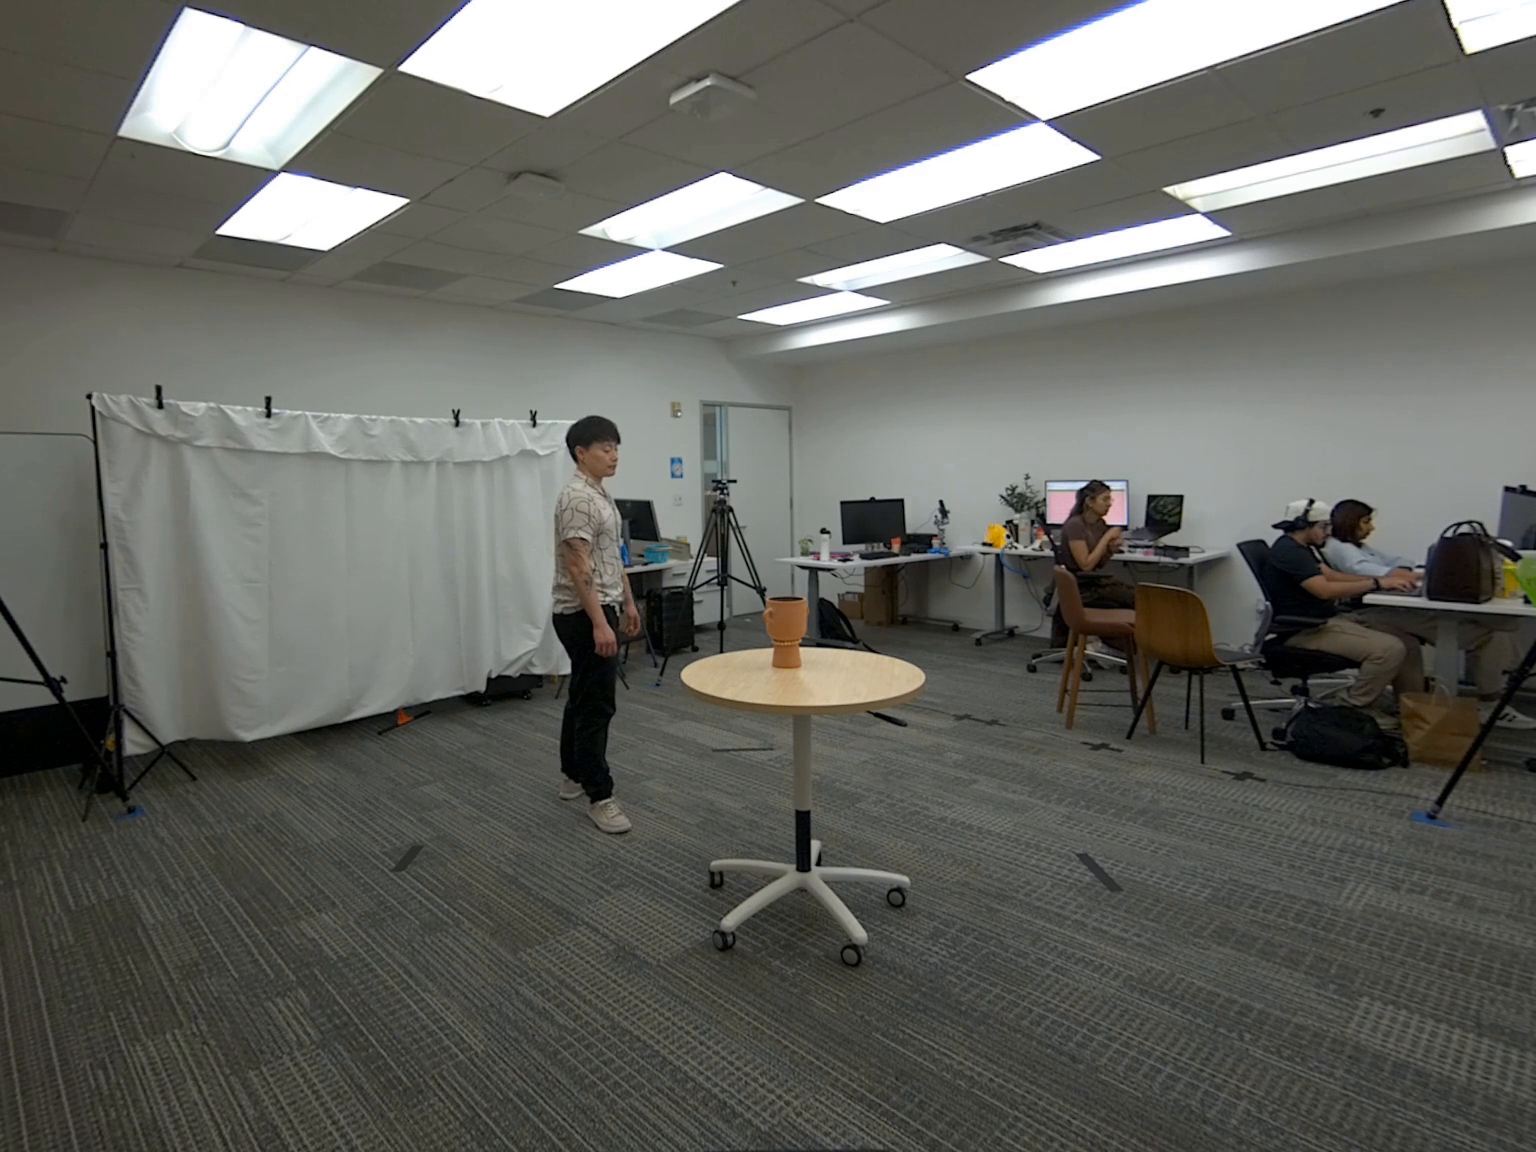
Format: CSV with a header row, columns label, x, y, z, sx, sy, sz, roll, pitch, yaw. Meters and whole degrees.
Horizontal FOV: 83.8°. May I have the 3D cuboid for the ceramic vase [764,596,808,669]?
label,x,y,z,sx,sy,sz,roll,pitch,yaw
ceramic vase,0.064,0.185,2.804,0.159,0.219,0.135,0,4,-1
